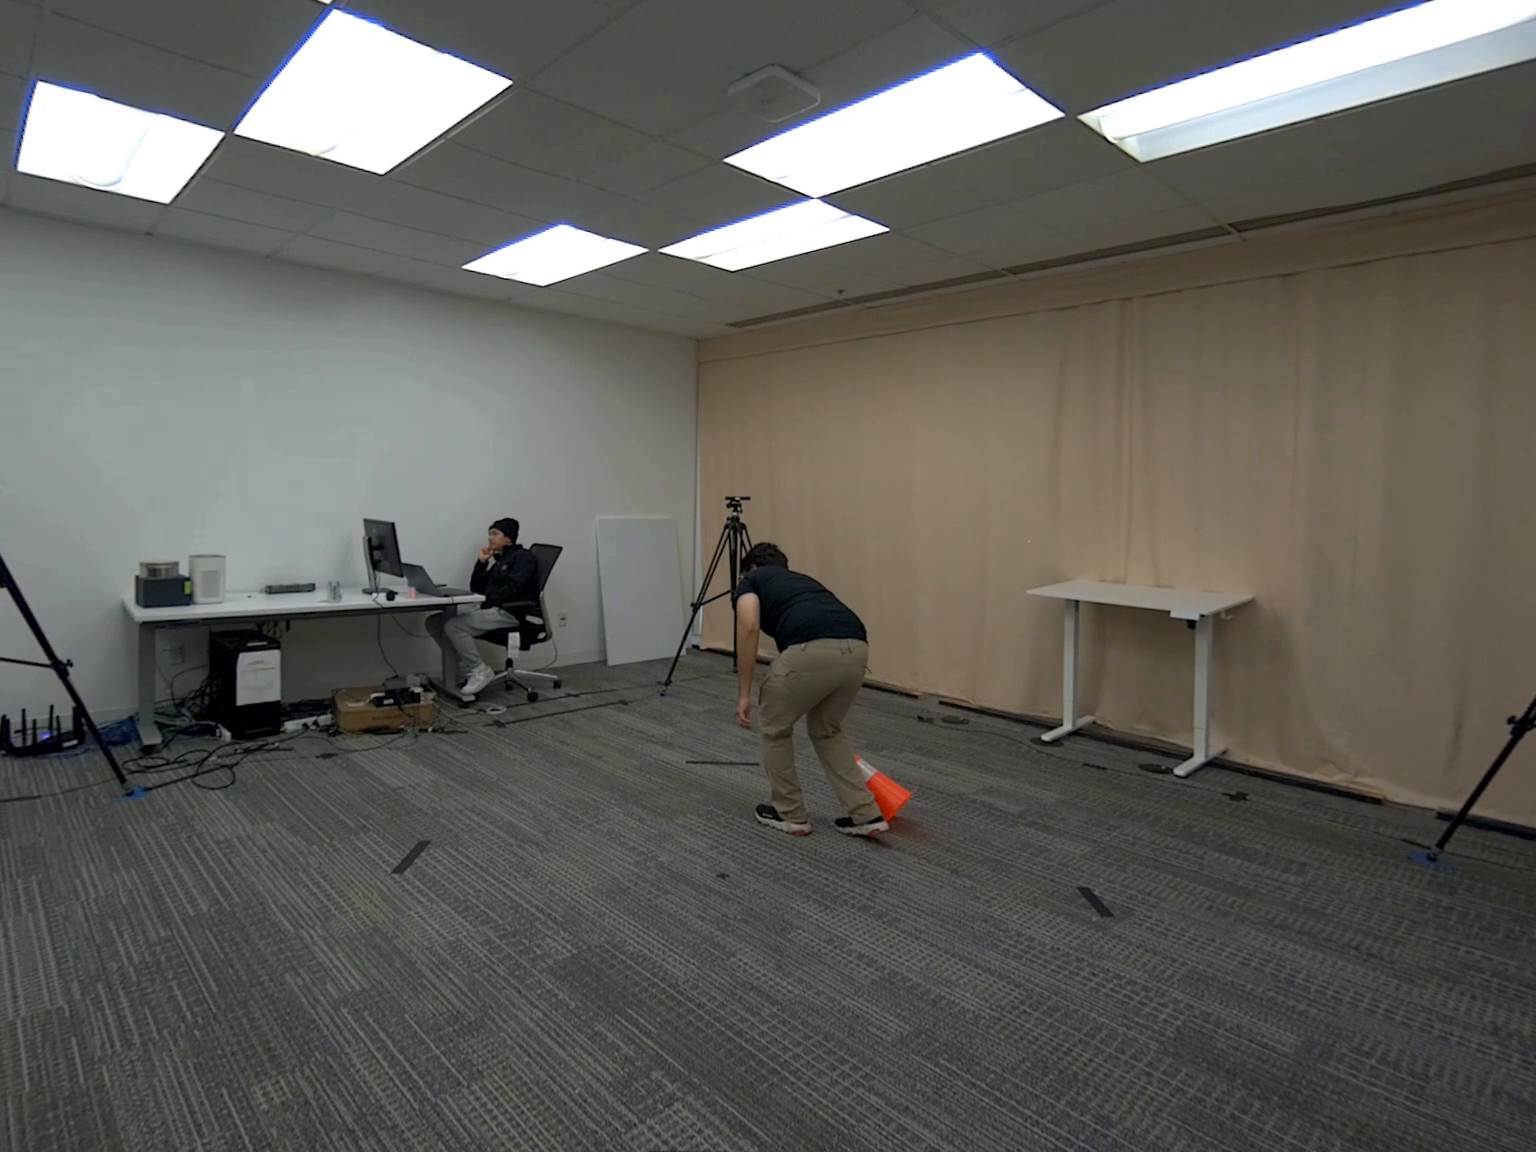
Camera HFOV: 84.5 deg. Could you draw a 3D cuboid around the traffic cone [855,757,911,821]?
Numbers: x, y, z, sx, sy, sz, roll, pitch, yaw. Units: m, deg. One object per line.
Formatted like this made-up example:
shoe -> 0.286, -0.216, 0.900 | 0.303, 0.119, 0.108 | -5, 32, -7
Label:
traffic cone -> 0.426, 0.880, 3.704 | 0.392, 0.204, 0.200 | 43, 31, 20
